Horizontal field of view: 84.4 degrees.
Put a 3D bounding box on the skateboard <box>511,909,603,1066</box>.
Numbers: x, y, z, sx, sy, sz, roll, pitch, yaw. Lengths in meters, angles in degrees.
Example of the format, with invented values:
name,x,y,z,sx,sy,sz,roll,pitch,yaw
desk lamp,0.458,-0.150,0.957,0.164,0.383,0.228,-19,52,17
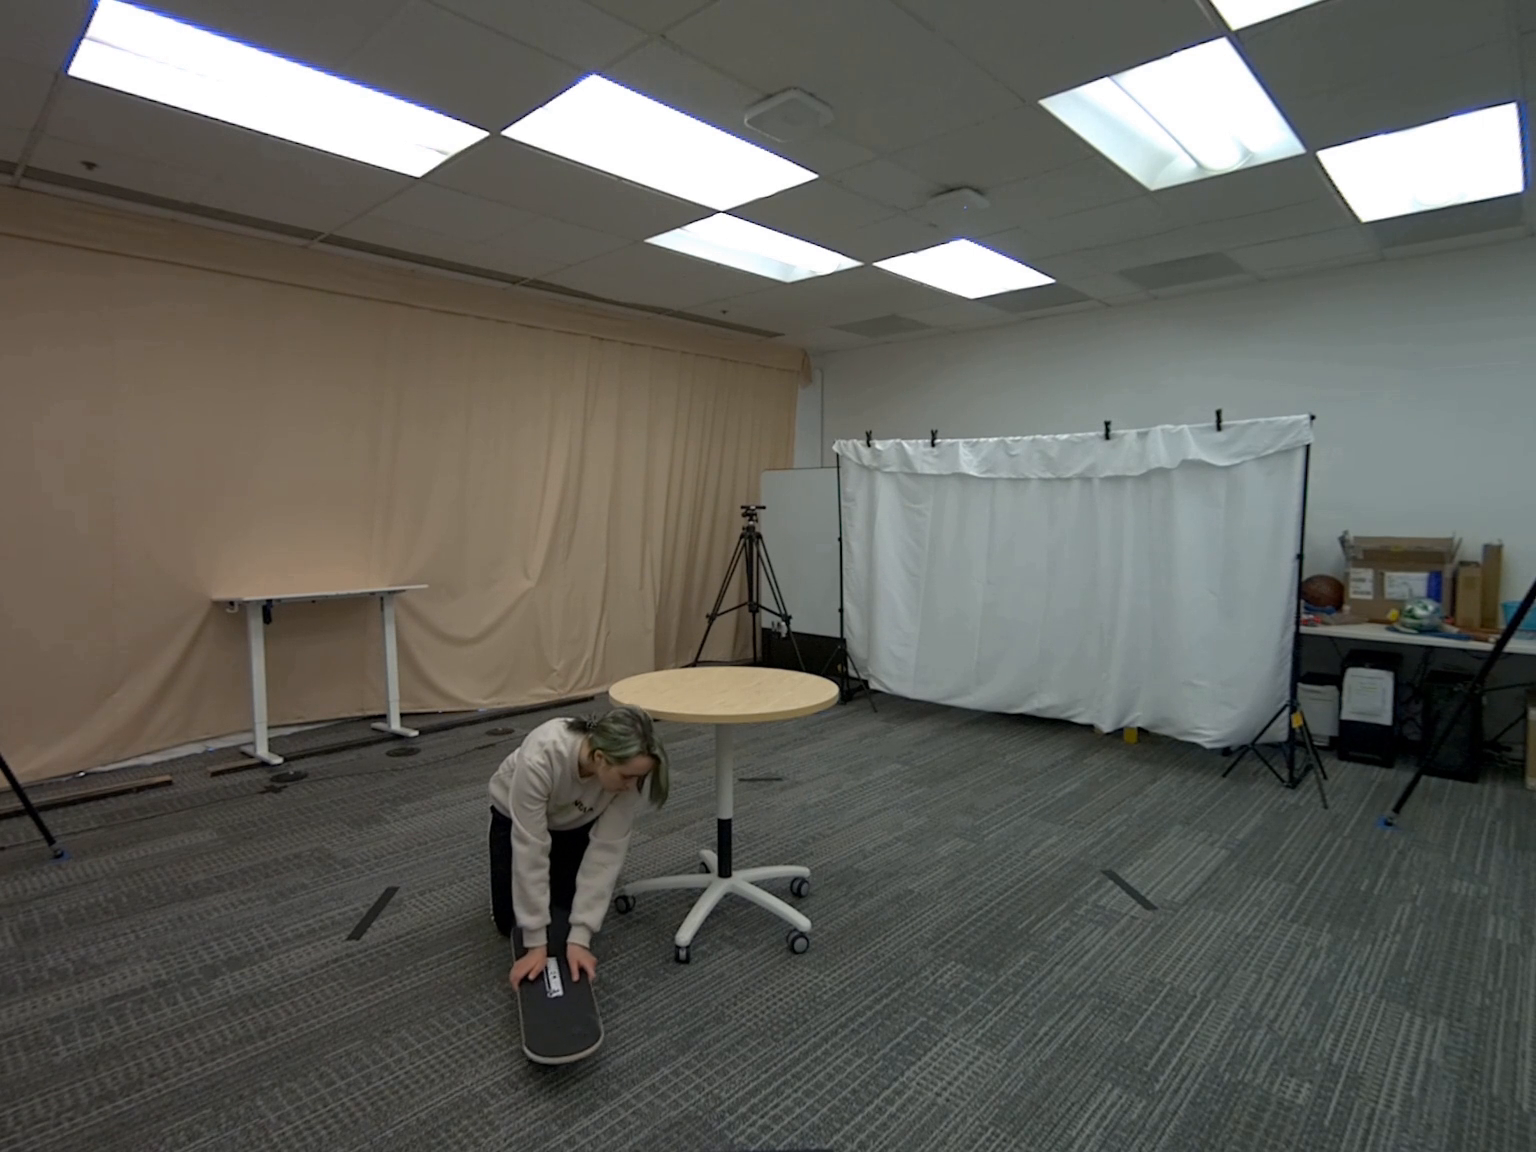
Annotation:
name,x,y,z,sx,sy,sz,roll,pitch,yaw
skateboard,-0.586,1.137,2.342,0.190,0.110,0.802,-4,6,-19
